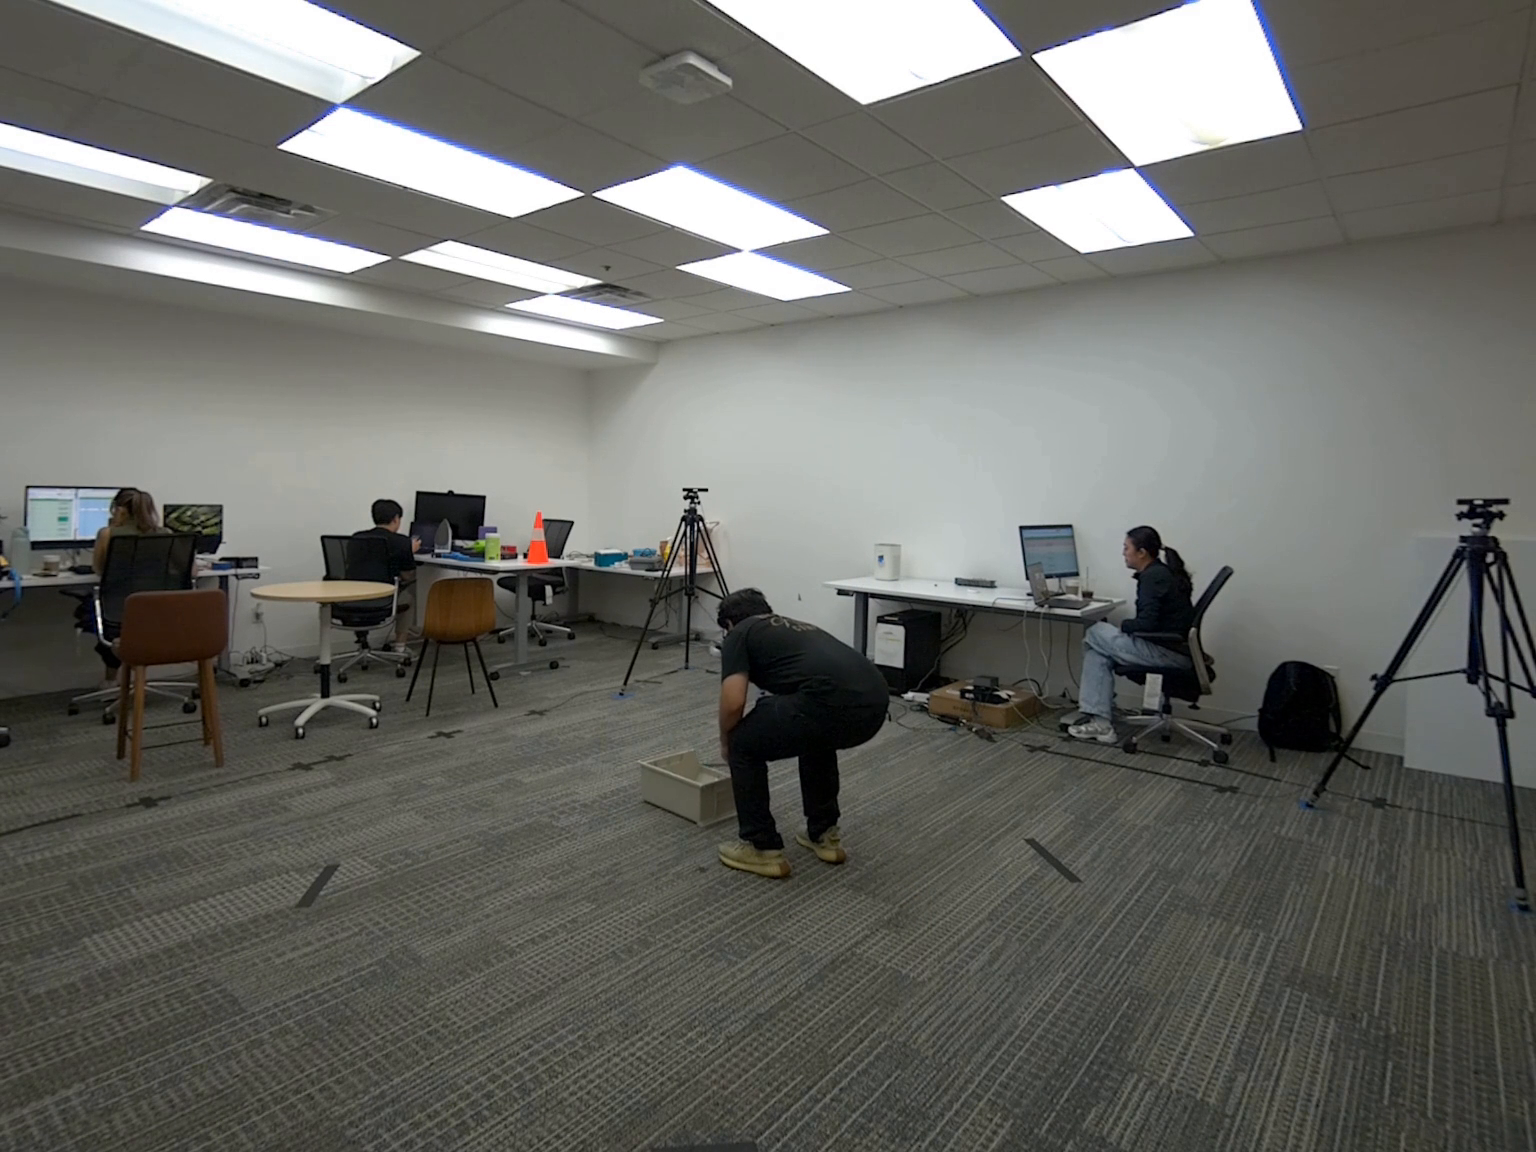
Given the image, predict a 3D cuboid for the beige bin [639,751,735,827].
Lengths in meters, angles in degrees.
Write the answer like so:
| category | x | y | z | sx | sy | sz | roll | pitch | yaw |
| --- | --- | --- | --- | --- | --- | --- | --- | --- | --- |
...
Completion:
| category | x | y | z | sx | sy | sz | roll | pitch | yaw |
| --- | --- | --- | --- | --- | --- | --- | --- | --- | --- |
| beige bin | -0.316 | 0.917 | 3.759 | 0.437 | 0.188 | 0.366 | 7 | 8 | 44 |
